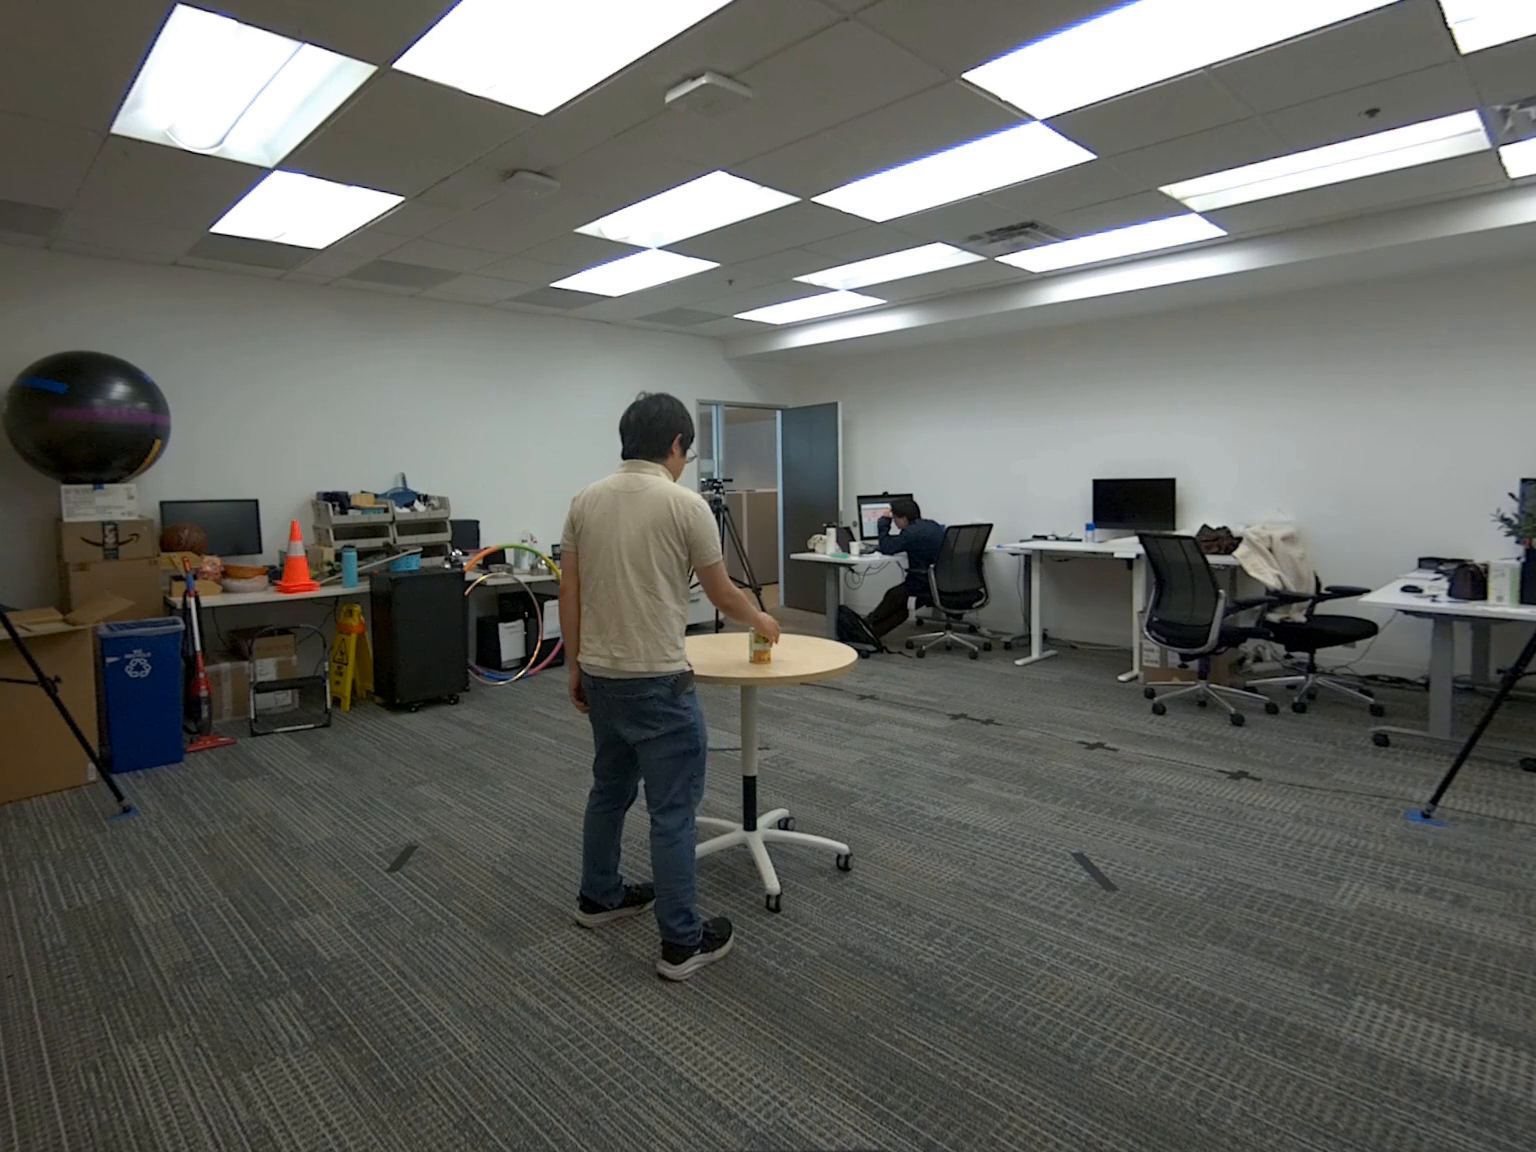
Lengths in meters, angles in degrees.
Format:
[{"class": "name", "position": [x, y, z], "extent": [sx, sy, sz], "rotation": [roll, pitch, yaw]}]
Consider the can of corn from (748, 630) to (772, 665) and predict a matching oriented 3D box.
[{"class": "can of corn", "position": [-0.017, 0.234, 2.865], "extent": [0.074, 0.110, 0.075], "rotation": [1, 8, -2]}]
